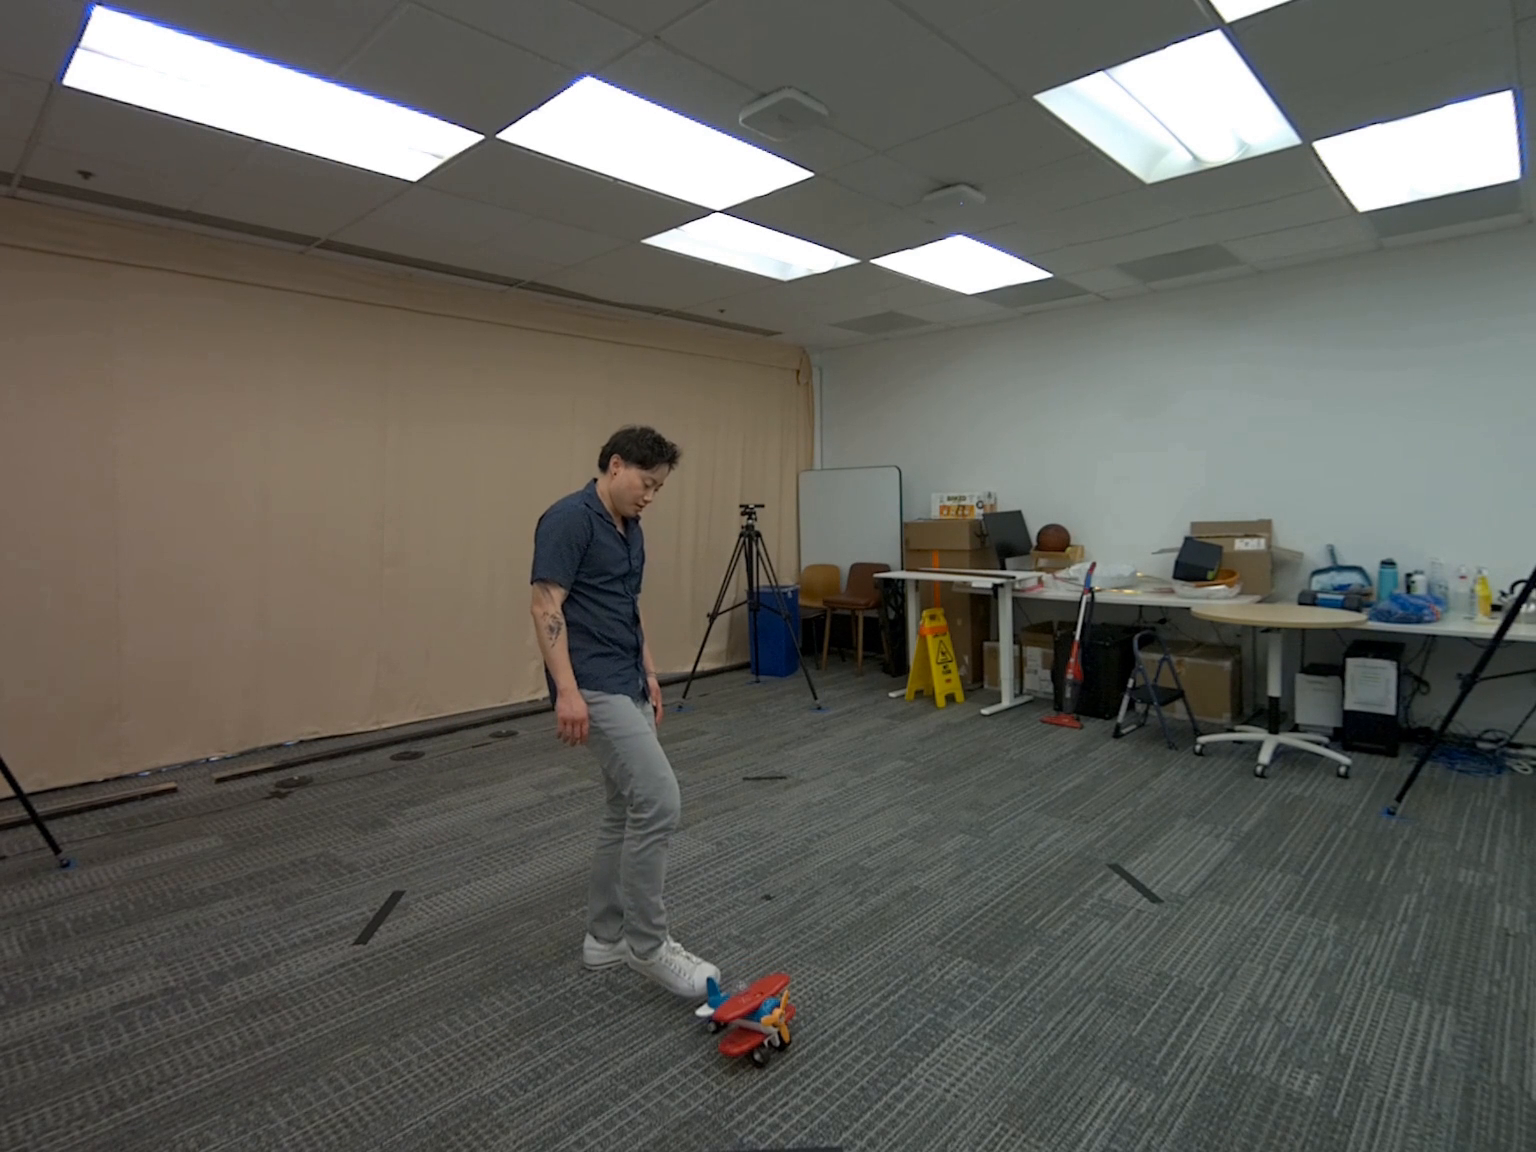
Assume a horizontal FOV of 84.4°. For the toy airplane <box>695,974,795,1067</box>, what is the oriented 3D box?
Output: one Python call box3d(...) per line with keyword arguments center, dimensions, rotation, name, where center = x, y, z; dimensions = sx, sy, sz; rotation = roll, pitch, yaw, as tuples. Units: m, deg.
box3d(center=(-0.064, 1.139, 2.158), dimensions=(0.263, 0.156, 0.248), rotation=(1, 6, 14), name="toy airplane")
